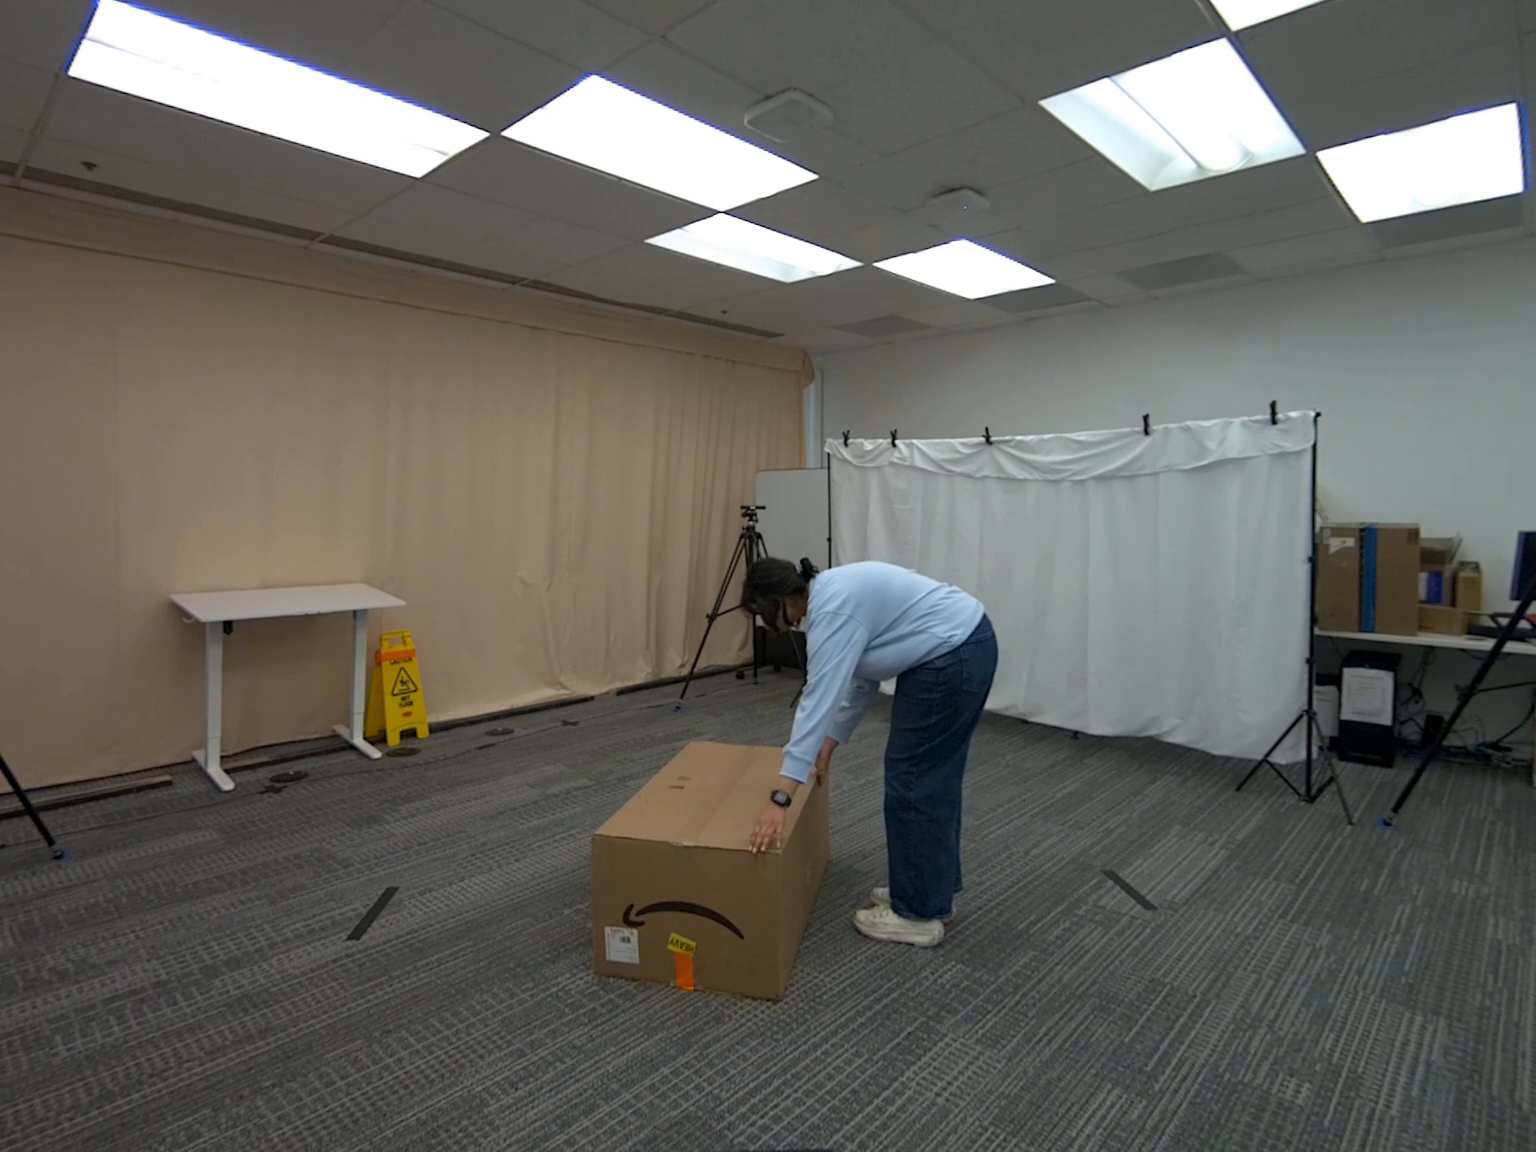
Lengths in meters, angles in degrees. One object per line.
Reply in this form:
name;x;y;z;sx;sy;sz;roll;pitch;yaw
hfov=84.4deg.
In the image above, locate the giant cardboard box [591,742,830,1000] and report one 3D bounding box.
giant cardboard box;-0.140;0.933;2.909;0.586;0.425;1.013;1;5;13
